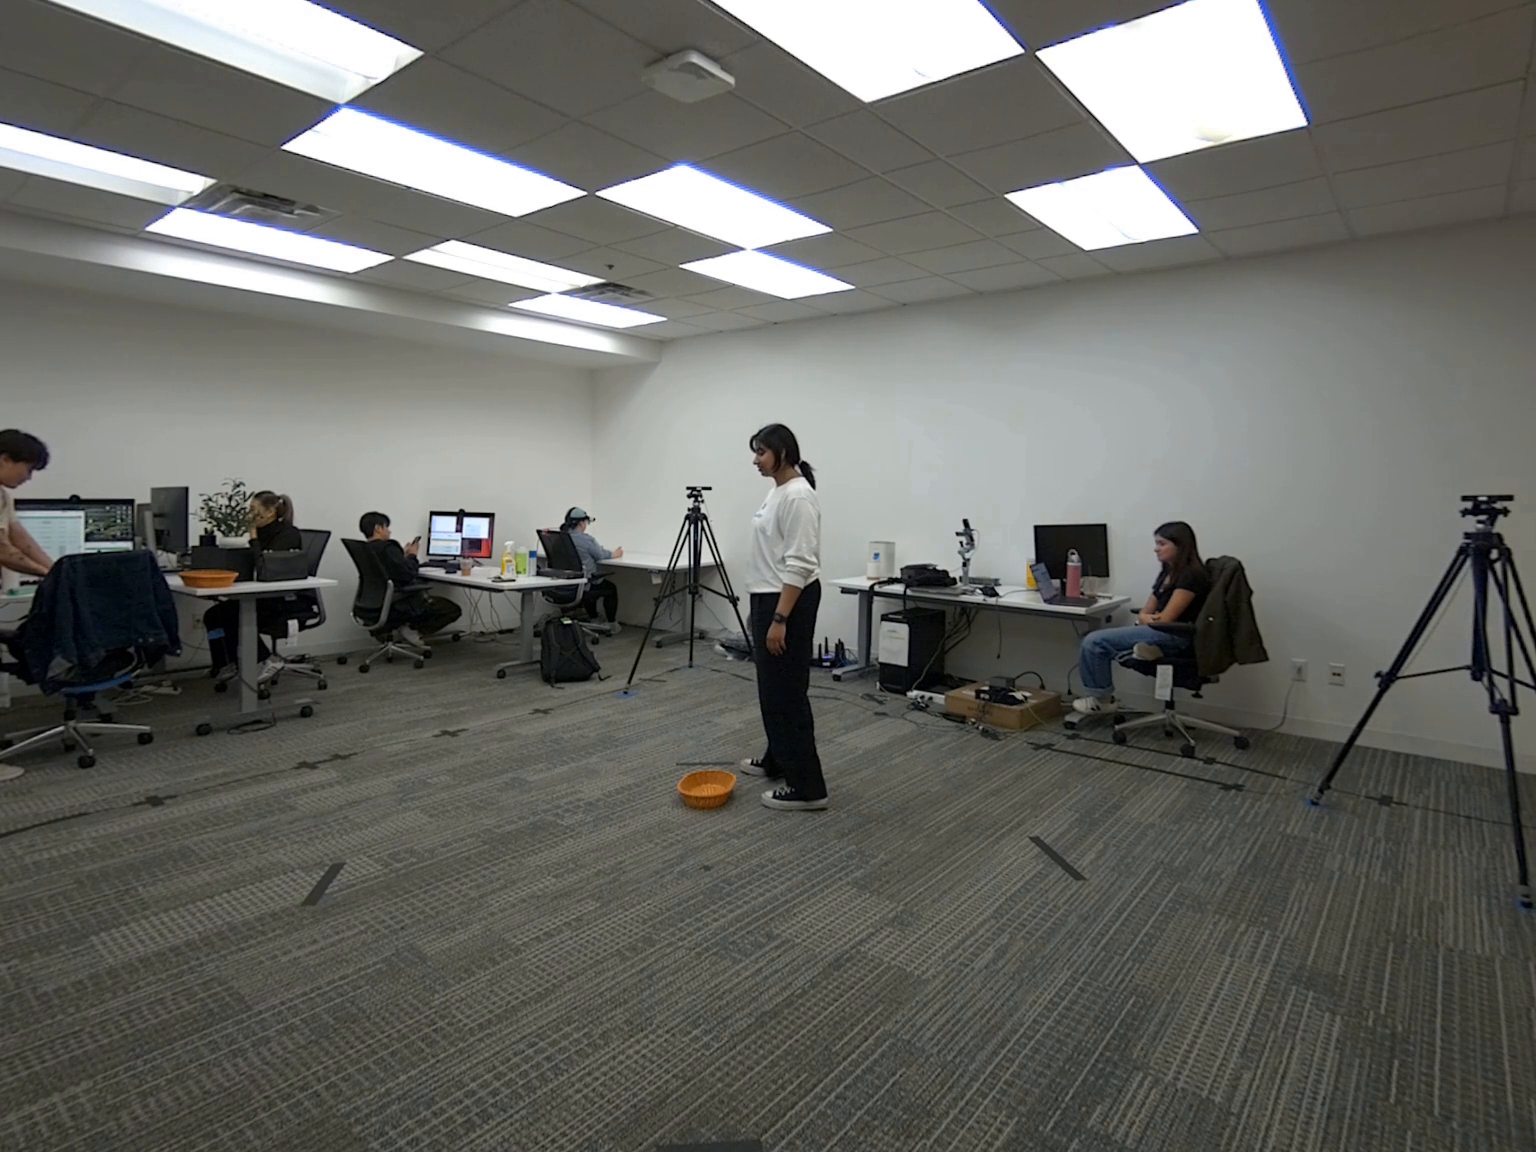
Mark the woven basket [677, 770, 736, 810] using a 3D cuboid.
[{"bbox_3d":[-0.275,0.957,3.820,0.255,0.073,0.348,1,6,8],"label":"woven basket"}]
